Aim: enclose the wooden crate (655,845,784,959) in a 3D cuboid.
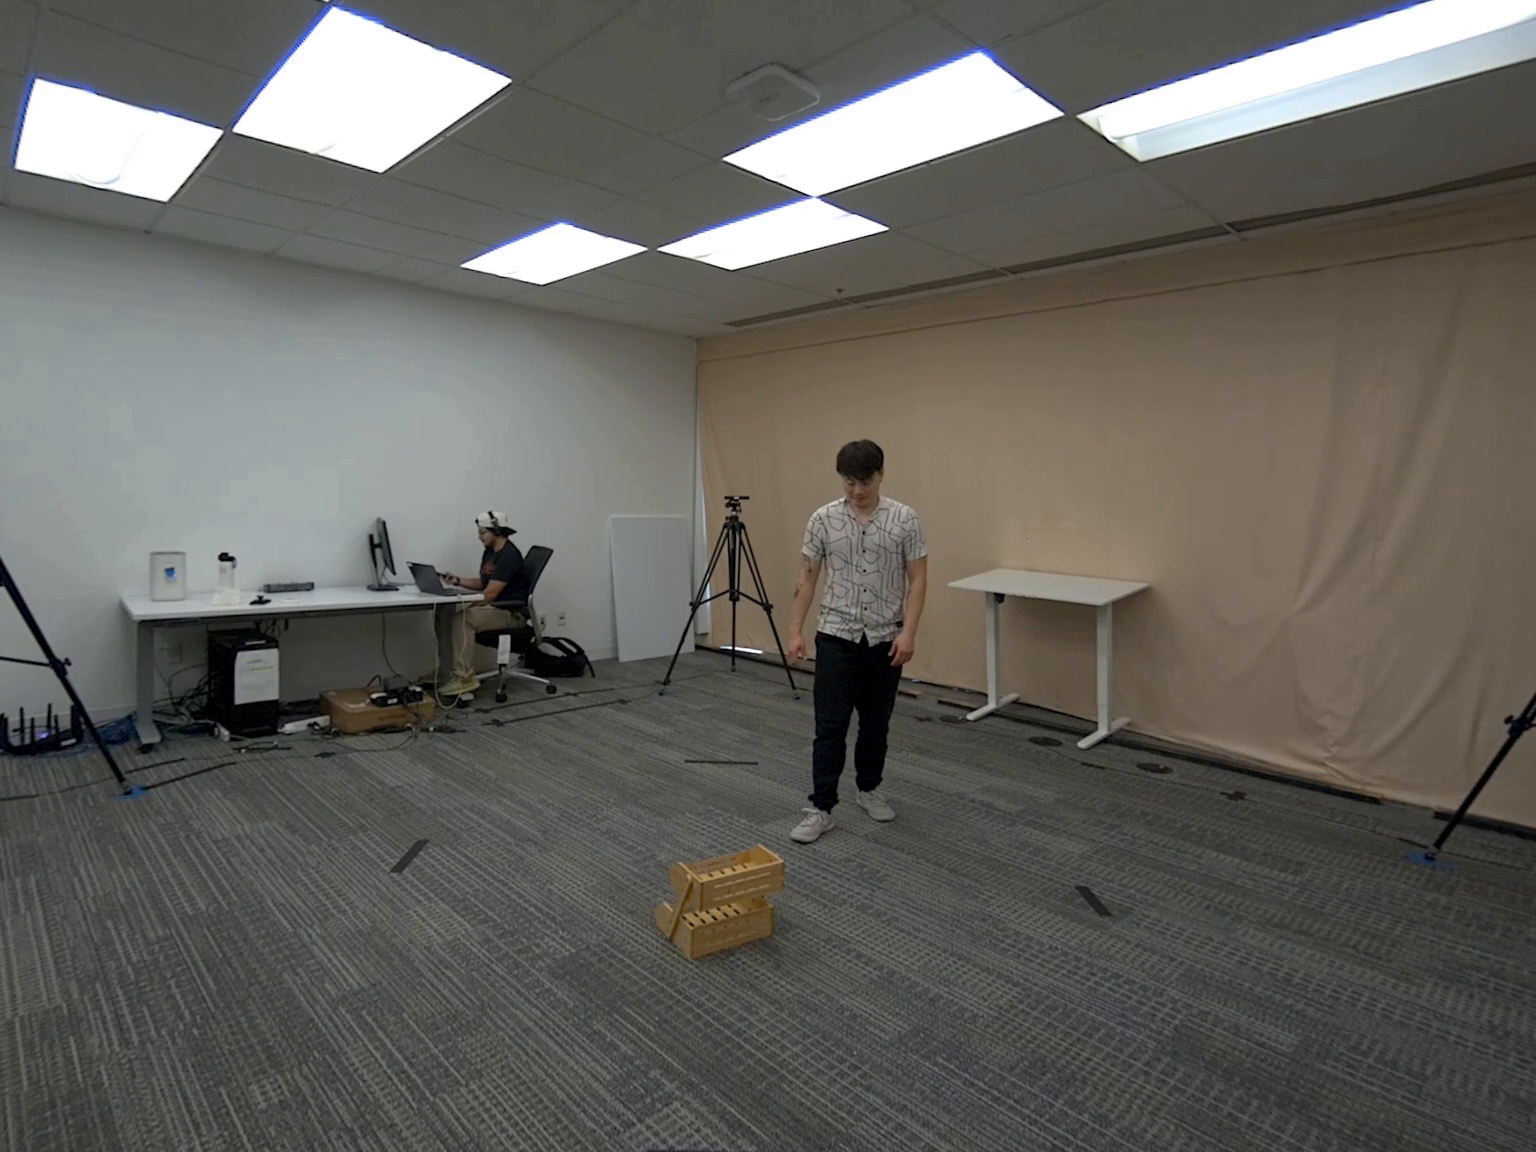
[{"bbox_3d":[-0.163,1.005,2.681,0.318,0.272,0.309,-1,5,-33],"label":"wooden crate"}]
